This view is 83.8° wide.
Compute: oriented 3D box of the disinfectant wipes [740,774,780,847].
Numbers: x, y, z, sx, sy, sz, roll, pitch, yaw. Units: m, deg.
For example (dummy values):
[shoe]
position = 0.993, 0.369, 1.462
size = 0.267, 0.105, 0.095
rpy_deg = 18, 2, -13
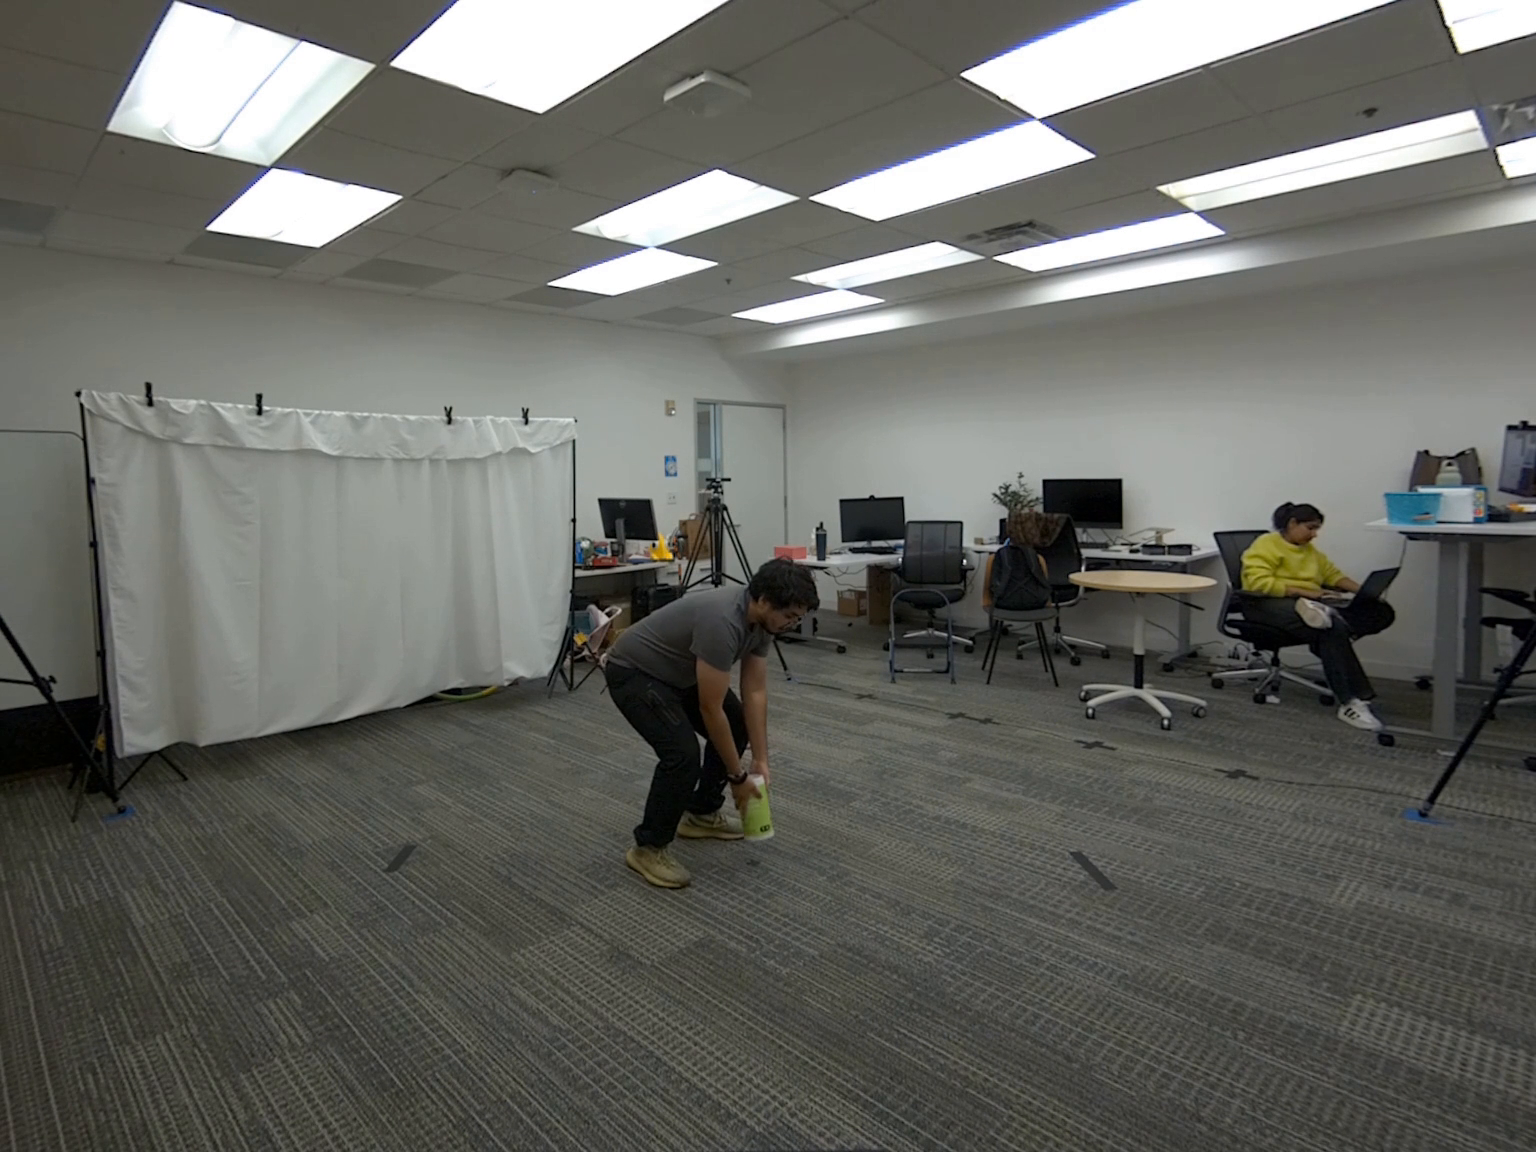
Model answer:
[disinfectant wipes]
position = -0.039, 0.833, 3.075
size = 0.117, 0.218, 0.117
rpy_deg = -8, -2, -2
